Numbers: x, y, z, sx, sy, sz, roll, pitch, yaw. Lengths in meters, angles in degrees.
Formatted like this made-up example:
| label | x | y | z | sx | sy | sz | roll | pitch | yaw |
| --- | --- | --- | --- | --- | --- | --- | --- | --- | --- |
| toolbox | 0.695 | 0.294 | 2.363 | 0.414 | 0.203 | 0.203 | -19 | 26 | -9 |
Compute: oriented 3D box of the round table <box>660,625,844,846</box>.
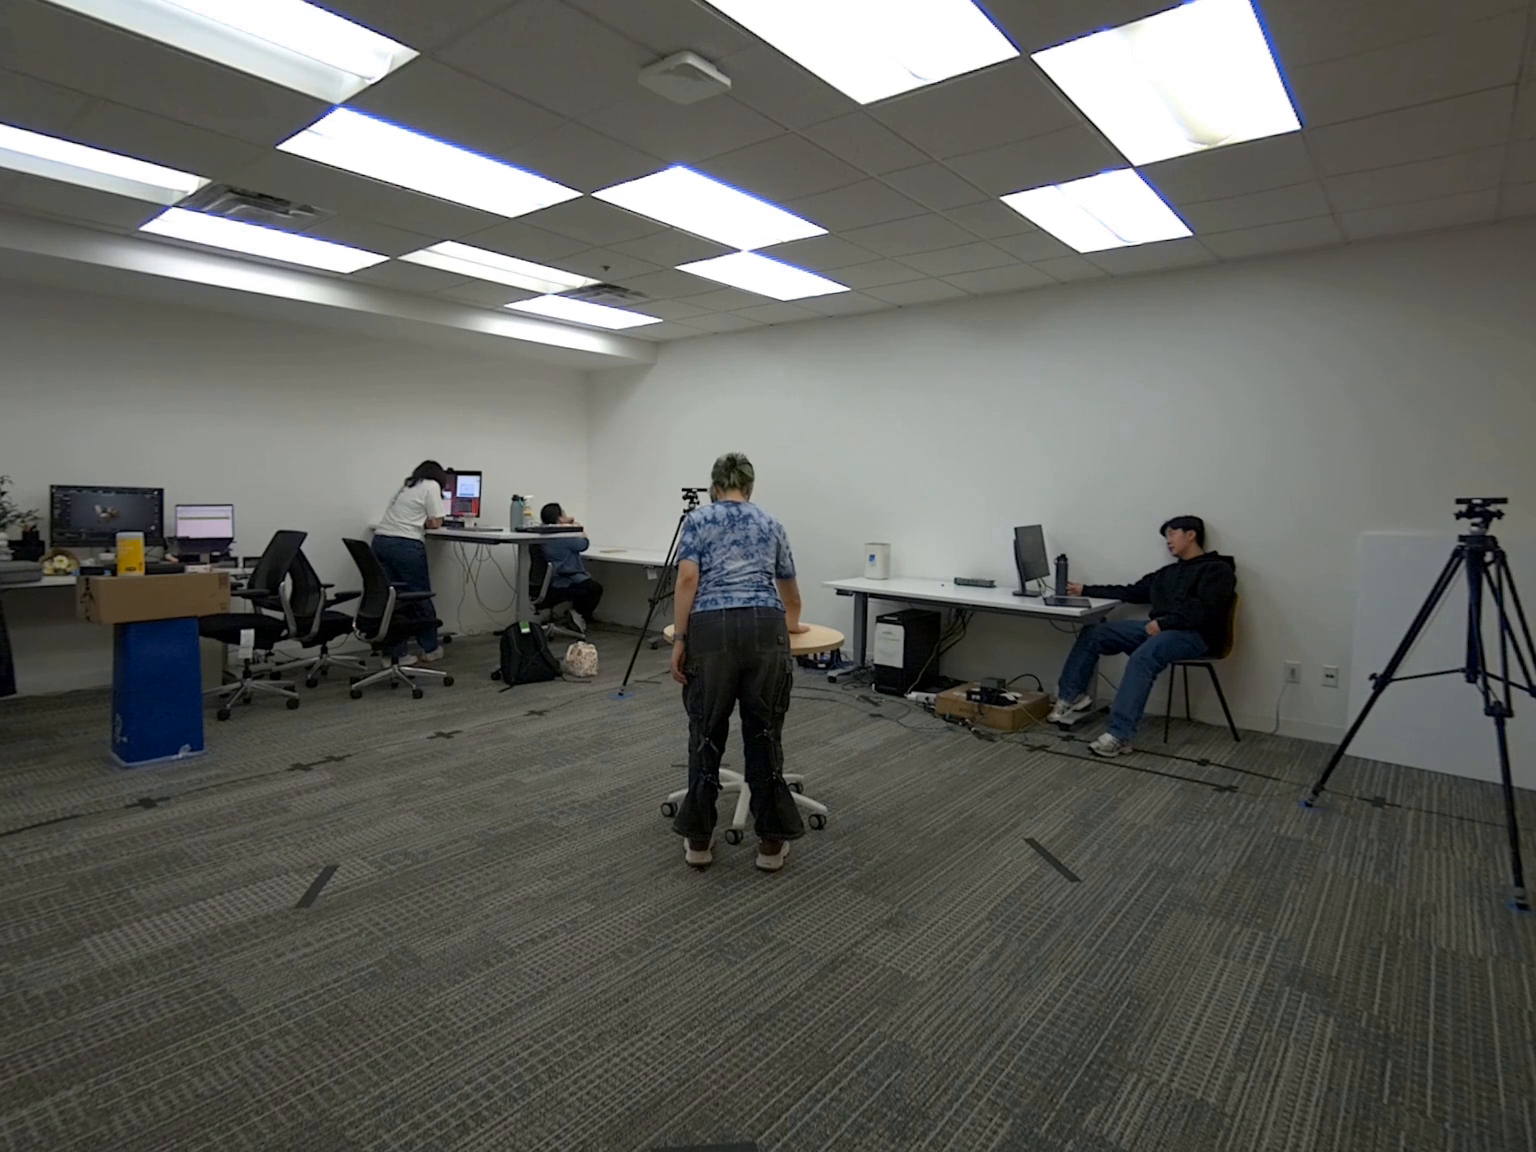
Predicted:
| label | x | y | z | sx | sy | sz | roll | pitch | yaw |
| --- | --- | --- | --- | --- | --- | --- | --- | --- | --- |
| round table | -0.070 | 0.625 | 3.629 | 0.784 | 0.784 | 0.789 | 1 | 4 | -2 |
